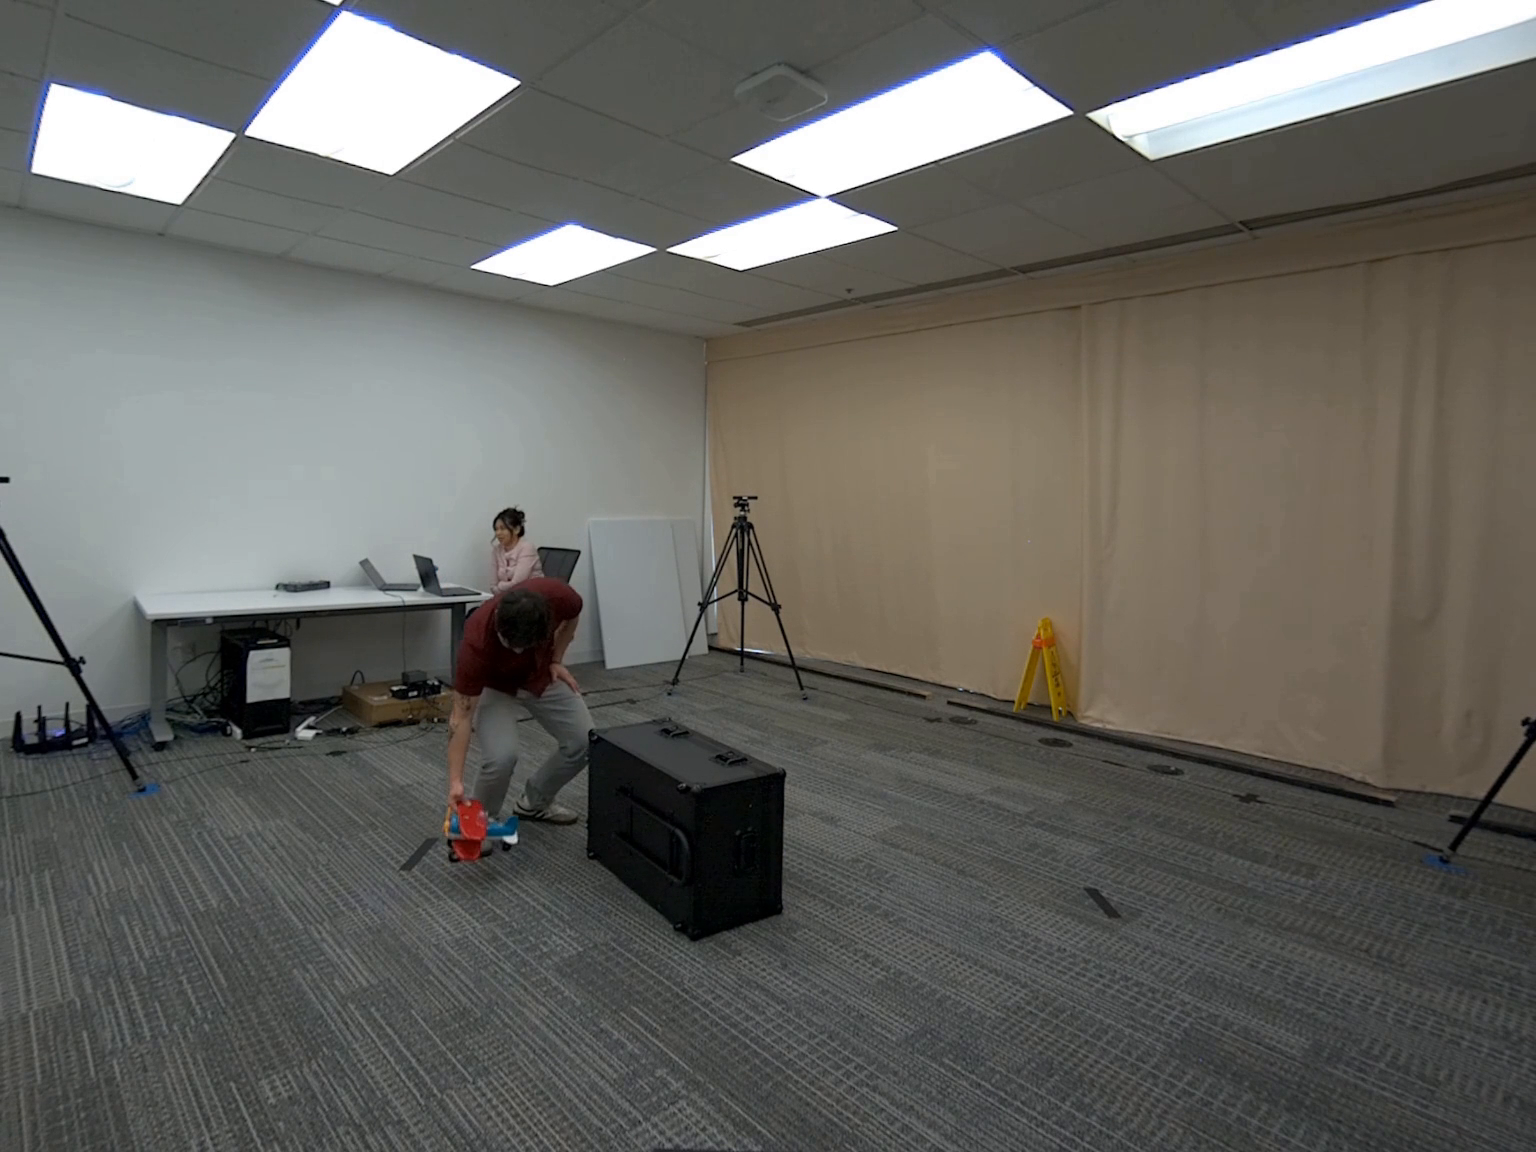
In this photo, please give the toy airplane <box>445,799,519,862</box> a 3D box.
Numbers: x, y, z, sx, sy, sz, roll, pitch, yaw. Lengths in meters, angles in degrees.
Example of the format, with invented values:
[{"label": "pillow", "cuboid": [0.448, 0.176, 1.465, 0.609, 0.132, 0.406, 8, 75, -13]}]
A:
[{"label": "toy airplane", "cuboid": [-1.048, 0.897, 3.043, 0.258, 0.155, 0.254, 18, 21, 42]}]
